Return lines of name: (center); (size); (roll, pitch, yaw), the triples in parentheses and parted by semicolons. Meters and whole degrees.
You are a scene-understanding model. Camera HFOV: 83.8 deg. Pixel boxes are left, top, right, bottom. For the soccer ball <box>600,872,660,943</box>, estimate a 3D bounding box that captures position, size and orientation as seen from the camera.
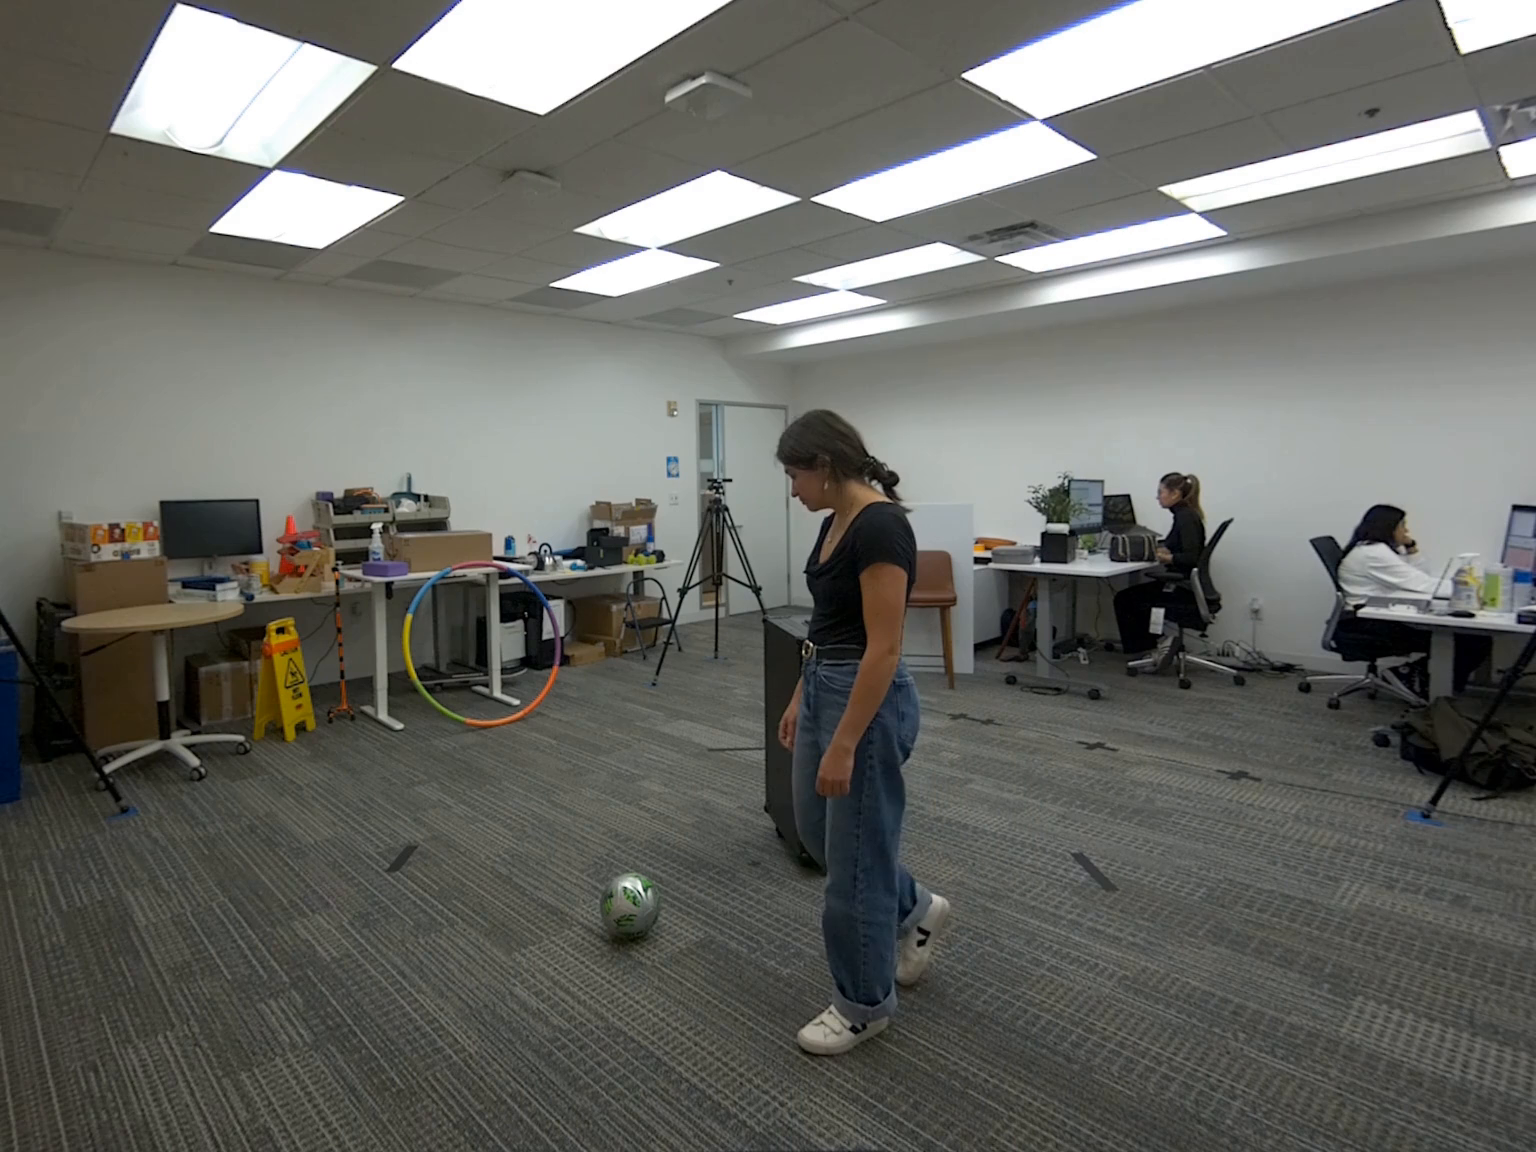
soccer ball: (-0.419, 1.017, 2.635); (0.187, 0.187, 0.188); (-1, 5, -2)
